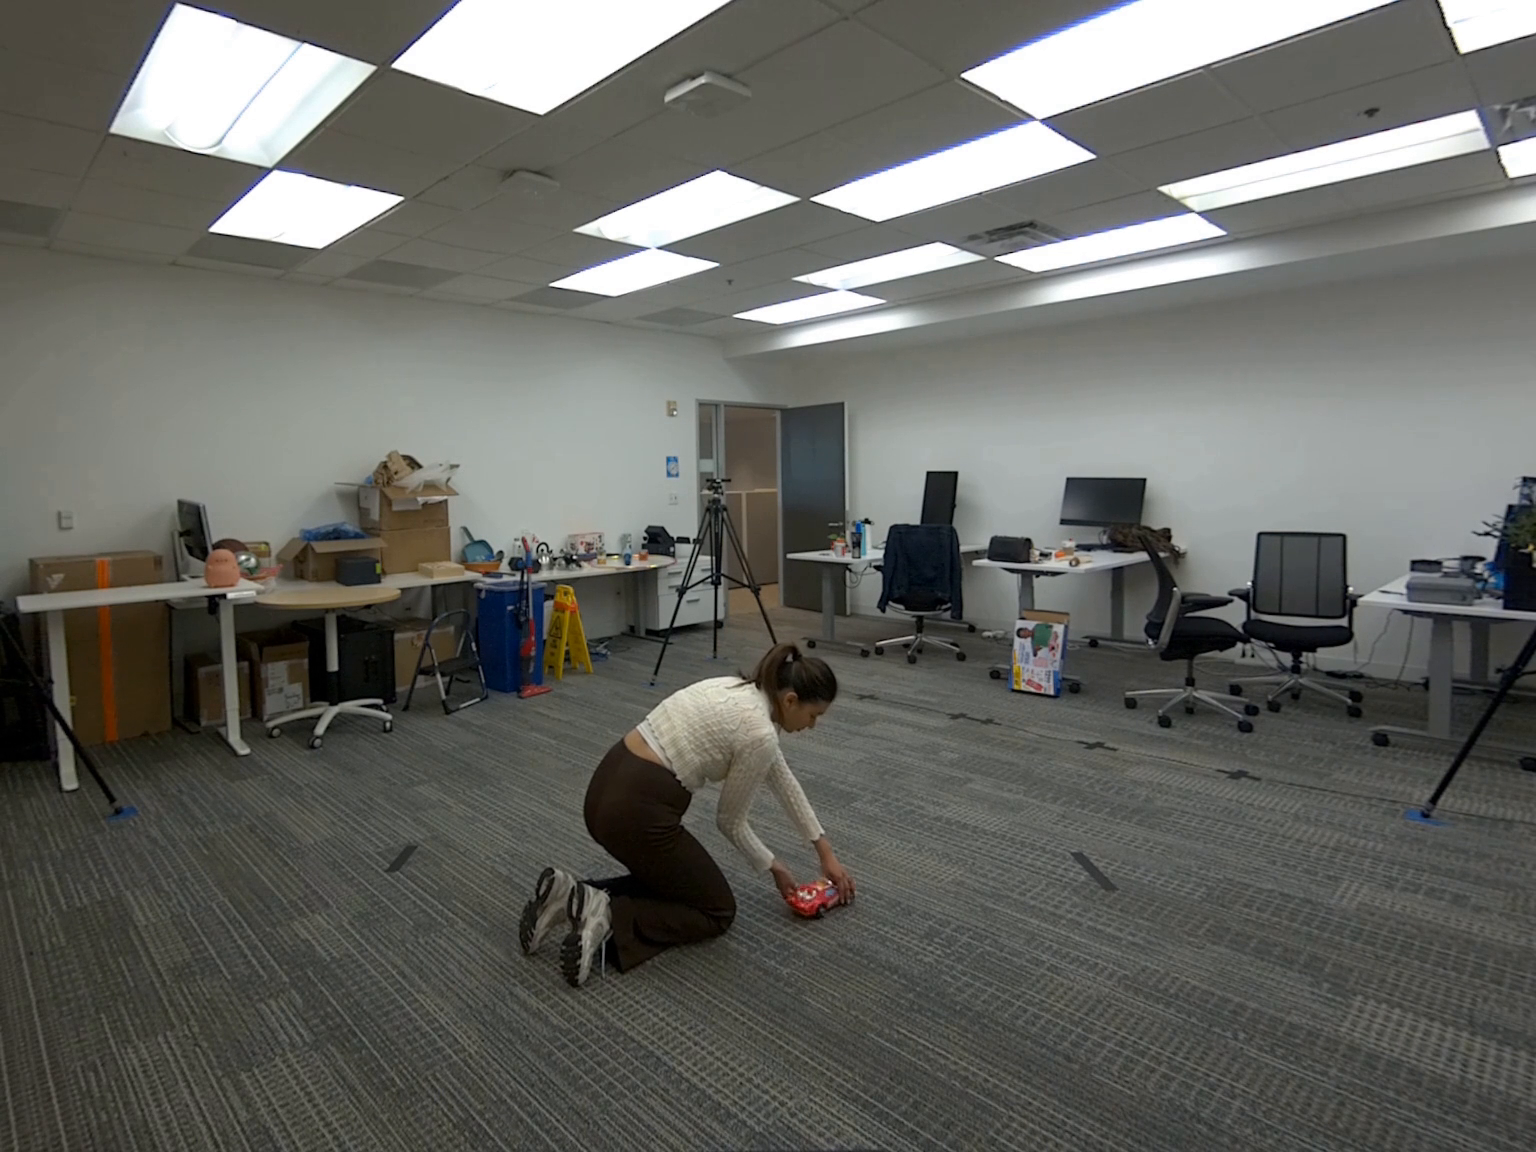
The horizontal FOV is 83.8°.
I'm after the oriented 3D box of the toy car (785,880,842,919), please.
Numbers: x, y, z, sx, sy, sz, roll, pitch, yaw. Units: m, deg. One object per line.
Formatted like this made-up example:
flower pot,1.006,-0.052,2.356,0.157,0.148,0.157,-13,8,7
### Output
toy car,0.172,1.047,2.775,0.134,0.083,0.246,6,-2,45
